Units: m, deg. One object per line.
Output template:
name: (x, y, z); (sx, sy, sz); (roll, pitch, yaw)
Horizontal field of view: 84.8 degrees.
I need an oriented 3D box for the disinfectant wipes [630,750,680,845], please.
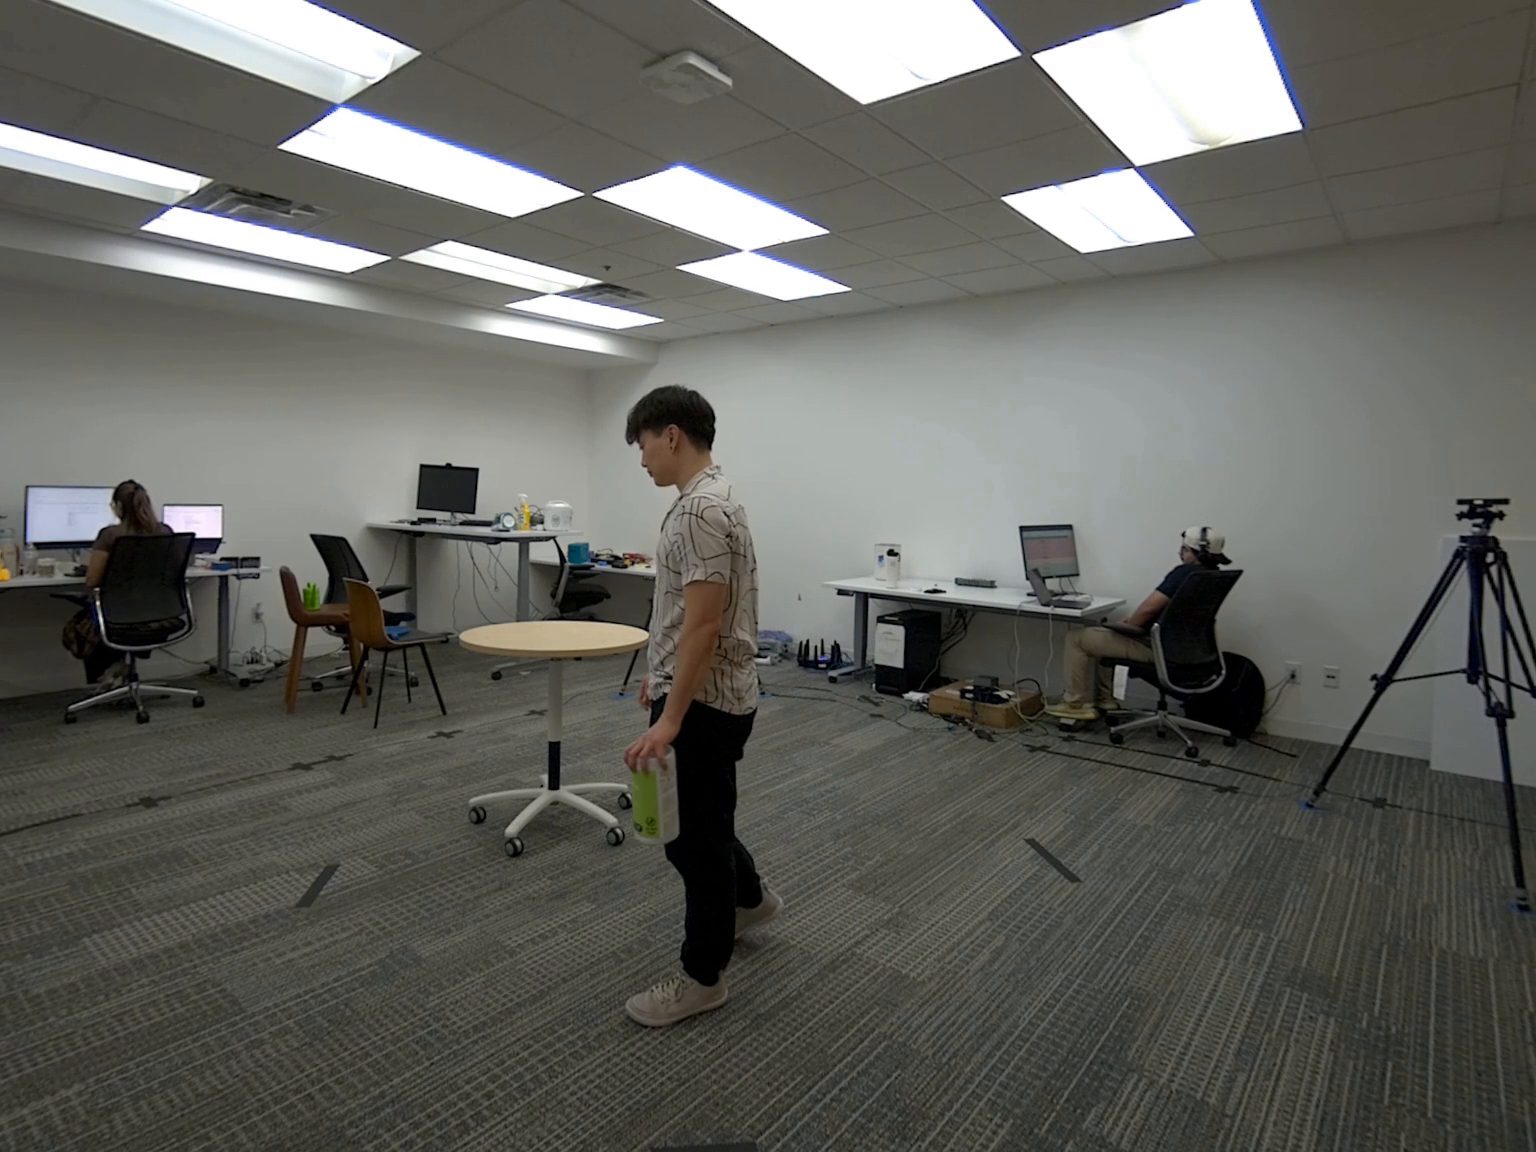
disinfectant wipes: (-0.274, 0.519, 2.053); (0.117, 0.216, 0.119); (1, 8, -2)
